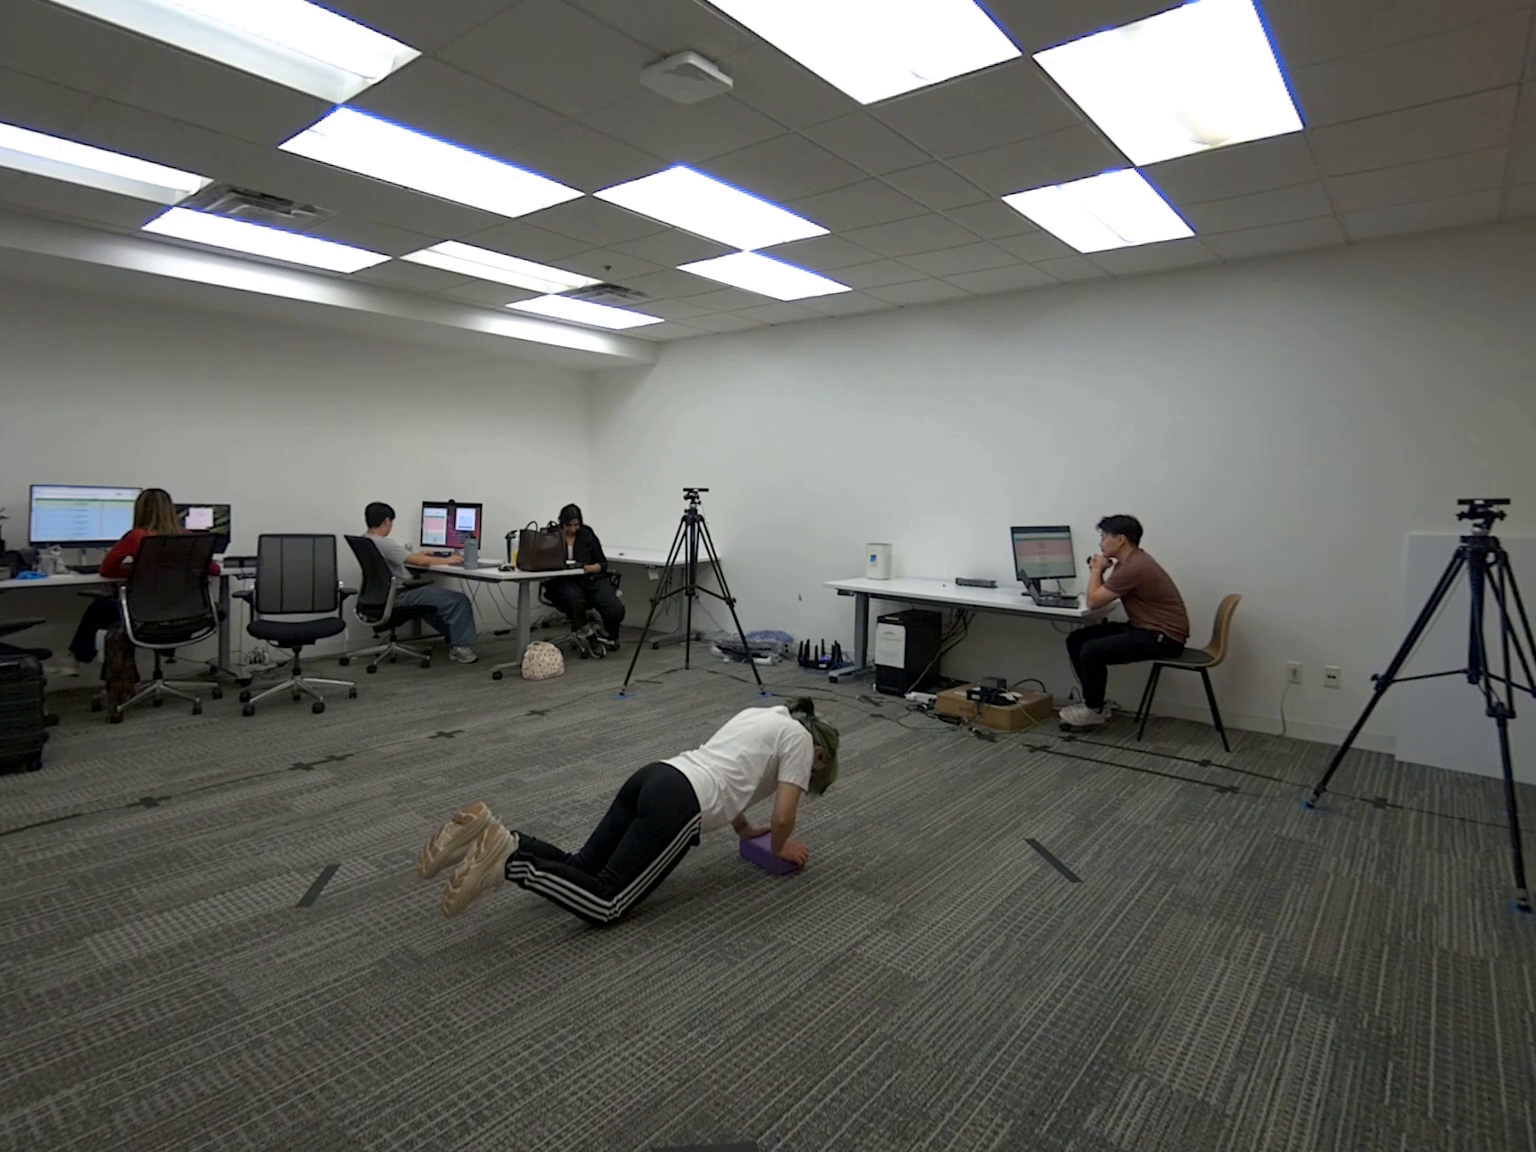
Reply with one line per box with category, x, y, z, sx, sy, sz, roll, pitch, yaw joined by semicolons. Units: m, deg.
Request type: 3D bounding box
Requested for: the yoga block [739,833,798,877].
yoga block;0.007;1.029;3.193;0.144;0.076;0.237;0;5;-38
